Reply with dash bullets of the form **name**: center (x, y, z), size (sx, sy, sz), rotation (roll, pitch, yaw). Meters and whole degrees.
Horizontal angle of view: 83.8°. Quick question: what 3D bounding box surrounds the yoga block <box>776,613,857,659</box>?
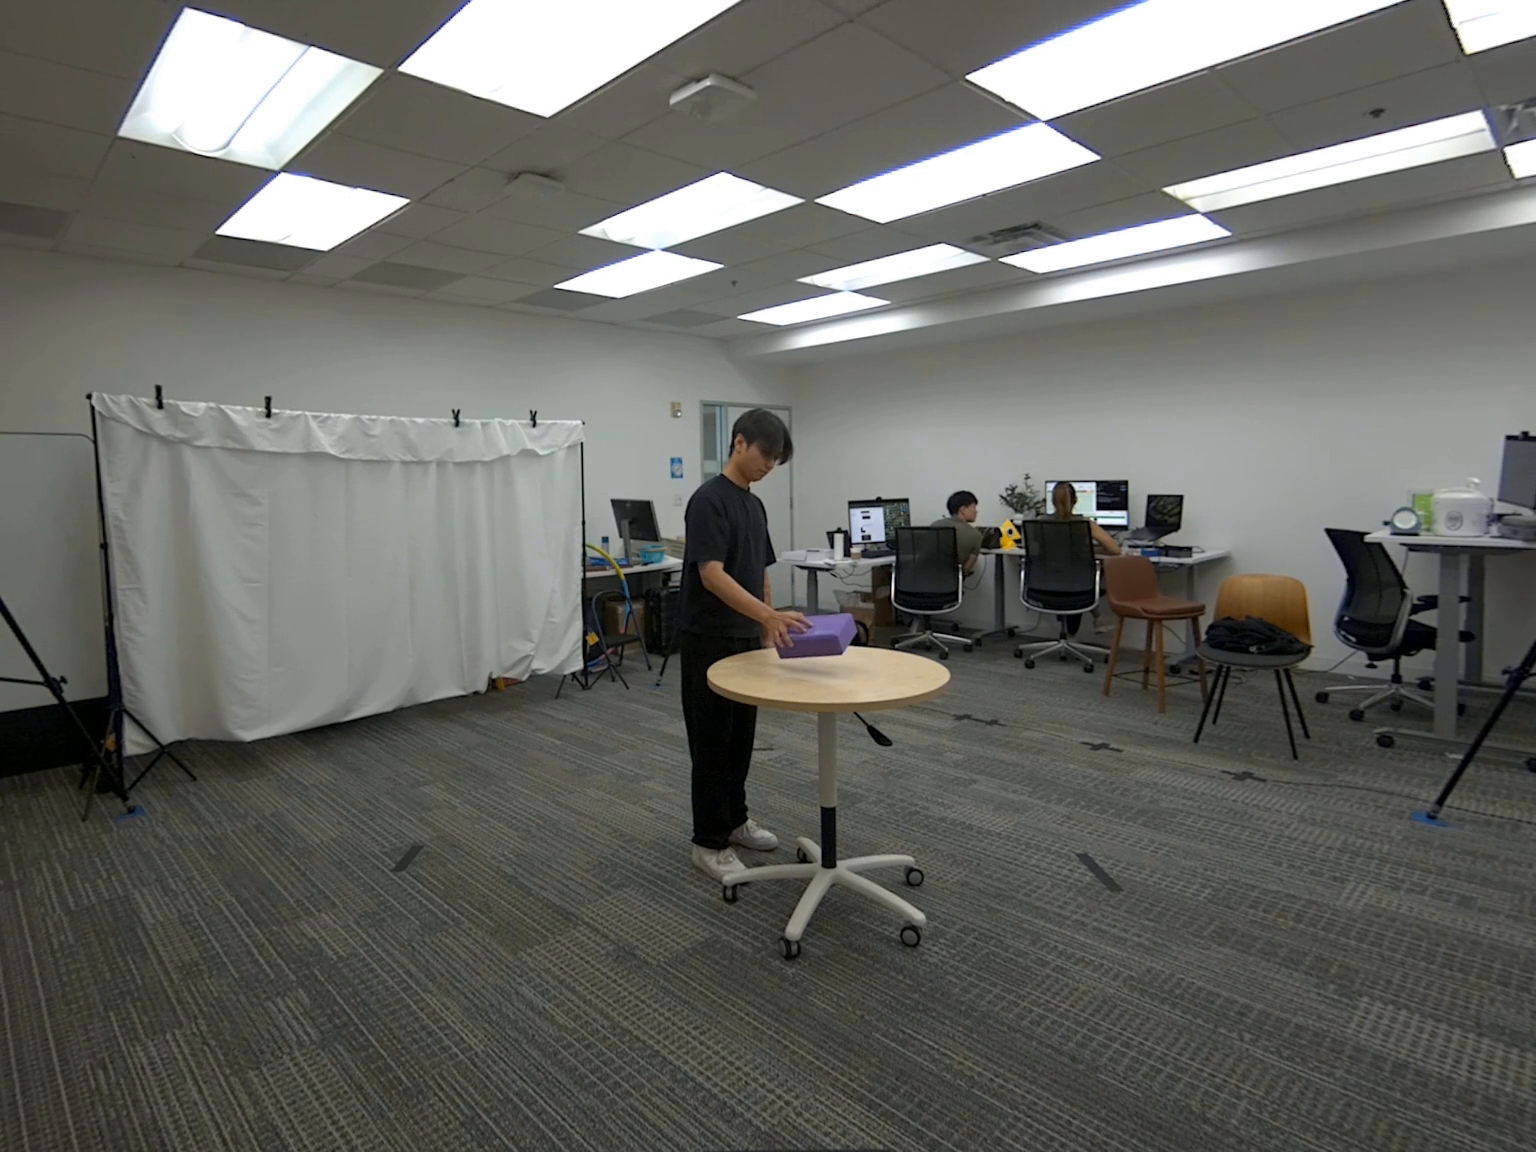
- **yoga block**: center (0.155, 0.191, 2.703), size (0.234, 0.075, 0.149), rotation (-10, 20, 27)
